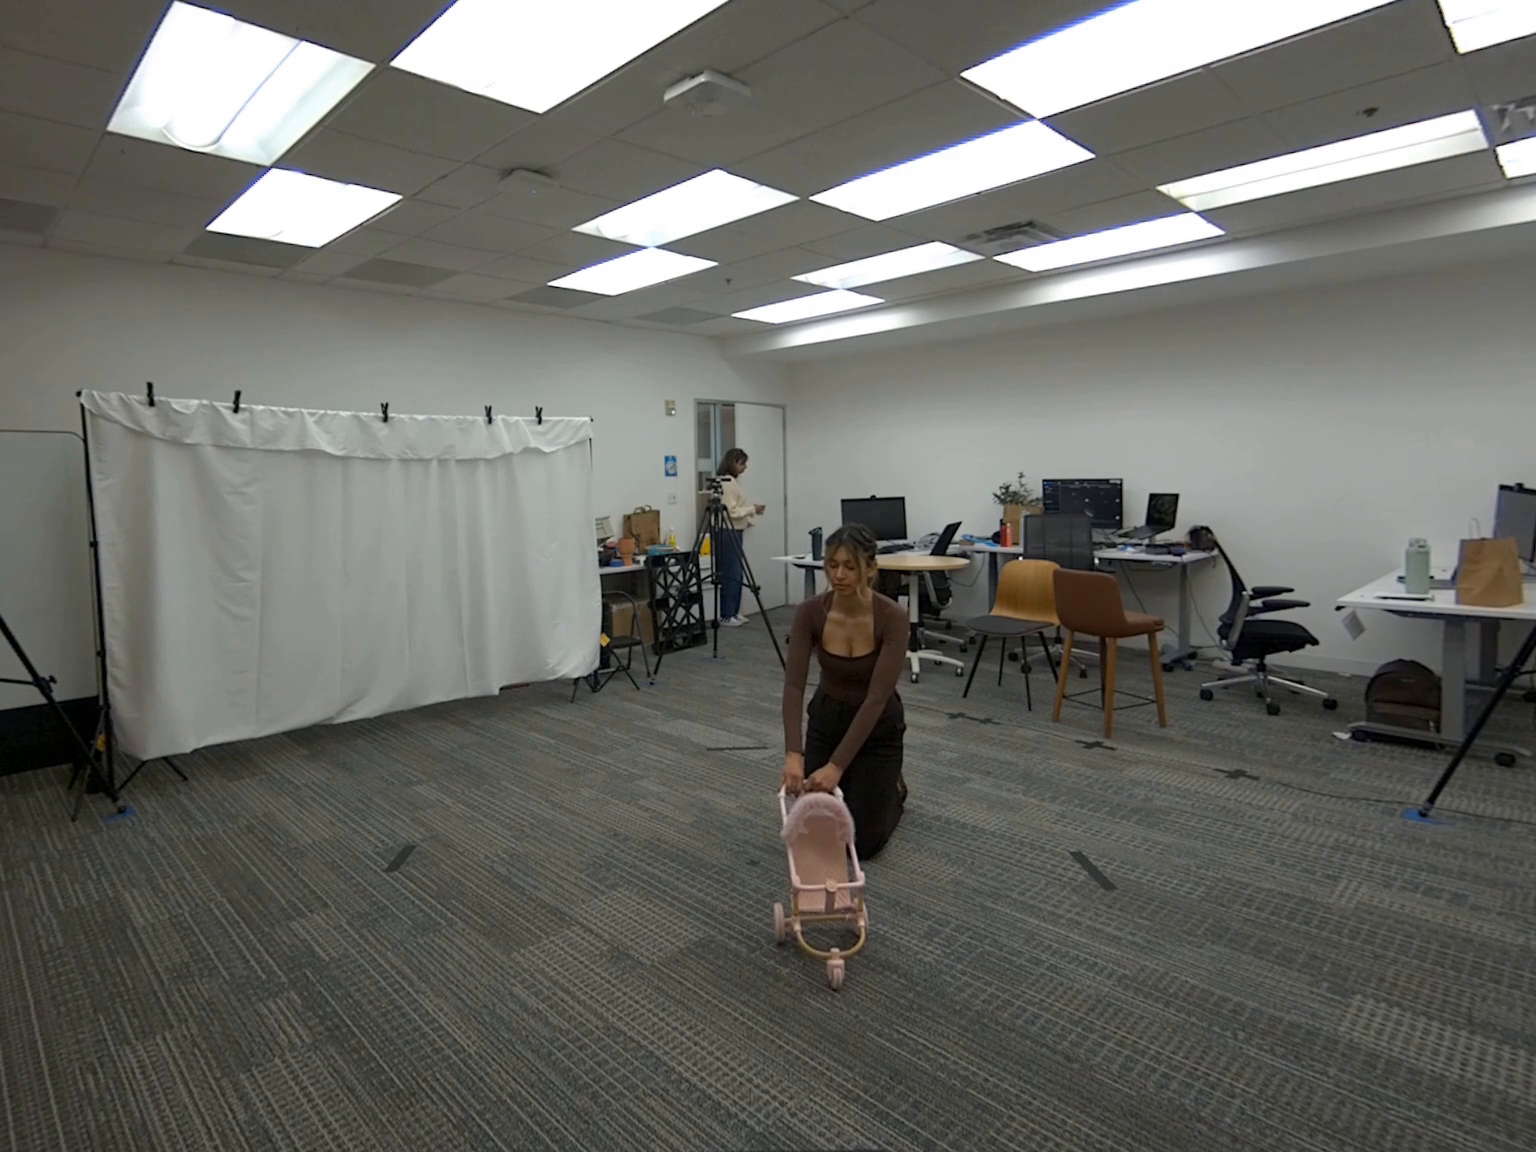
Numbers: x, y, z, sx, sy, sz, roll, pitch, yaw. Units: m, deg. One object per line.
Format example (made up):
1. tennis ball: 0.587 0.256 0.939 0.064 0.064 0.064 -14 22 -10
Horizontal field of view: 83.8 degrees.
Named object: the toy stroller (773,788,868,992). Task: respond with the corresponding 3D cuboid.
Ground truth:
1. toy stroller: 0.160 0.888 2.515 0.281 0.541 0.338 -2 -11 -2
